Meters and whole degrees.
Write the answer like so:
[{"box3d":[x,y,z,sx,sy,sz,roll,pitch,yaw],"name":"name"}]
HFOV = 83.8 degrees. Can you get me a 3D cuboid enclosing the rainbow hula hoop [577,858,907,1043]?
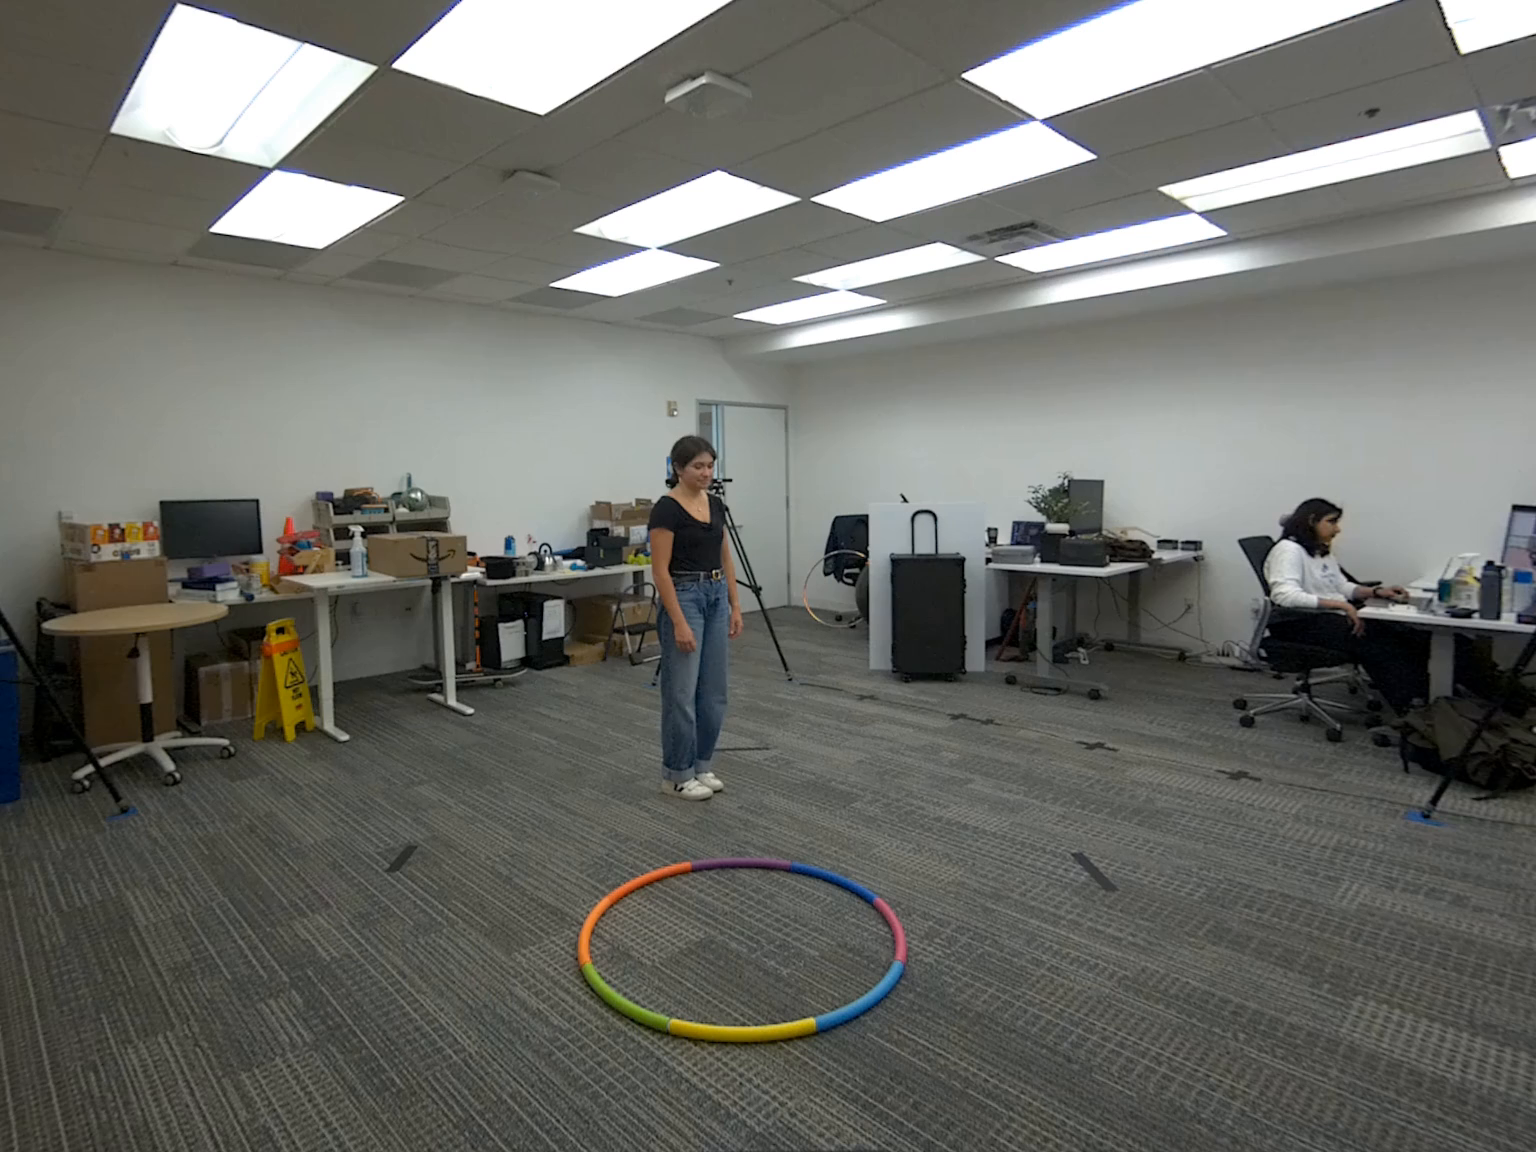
[{"box3d":[-0.079,1.073,2.608,0.978,0.035,0.984,-1,7,-2],"name":"rainbow hula hoop"}]
